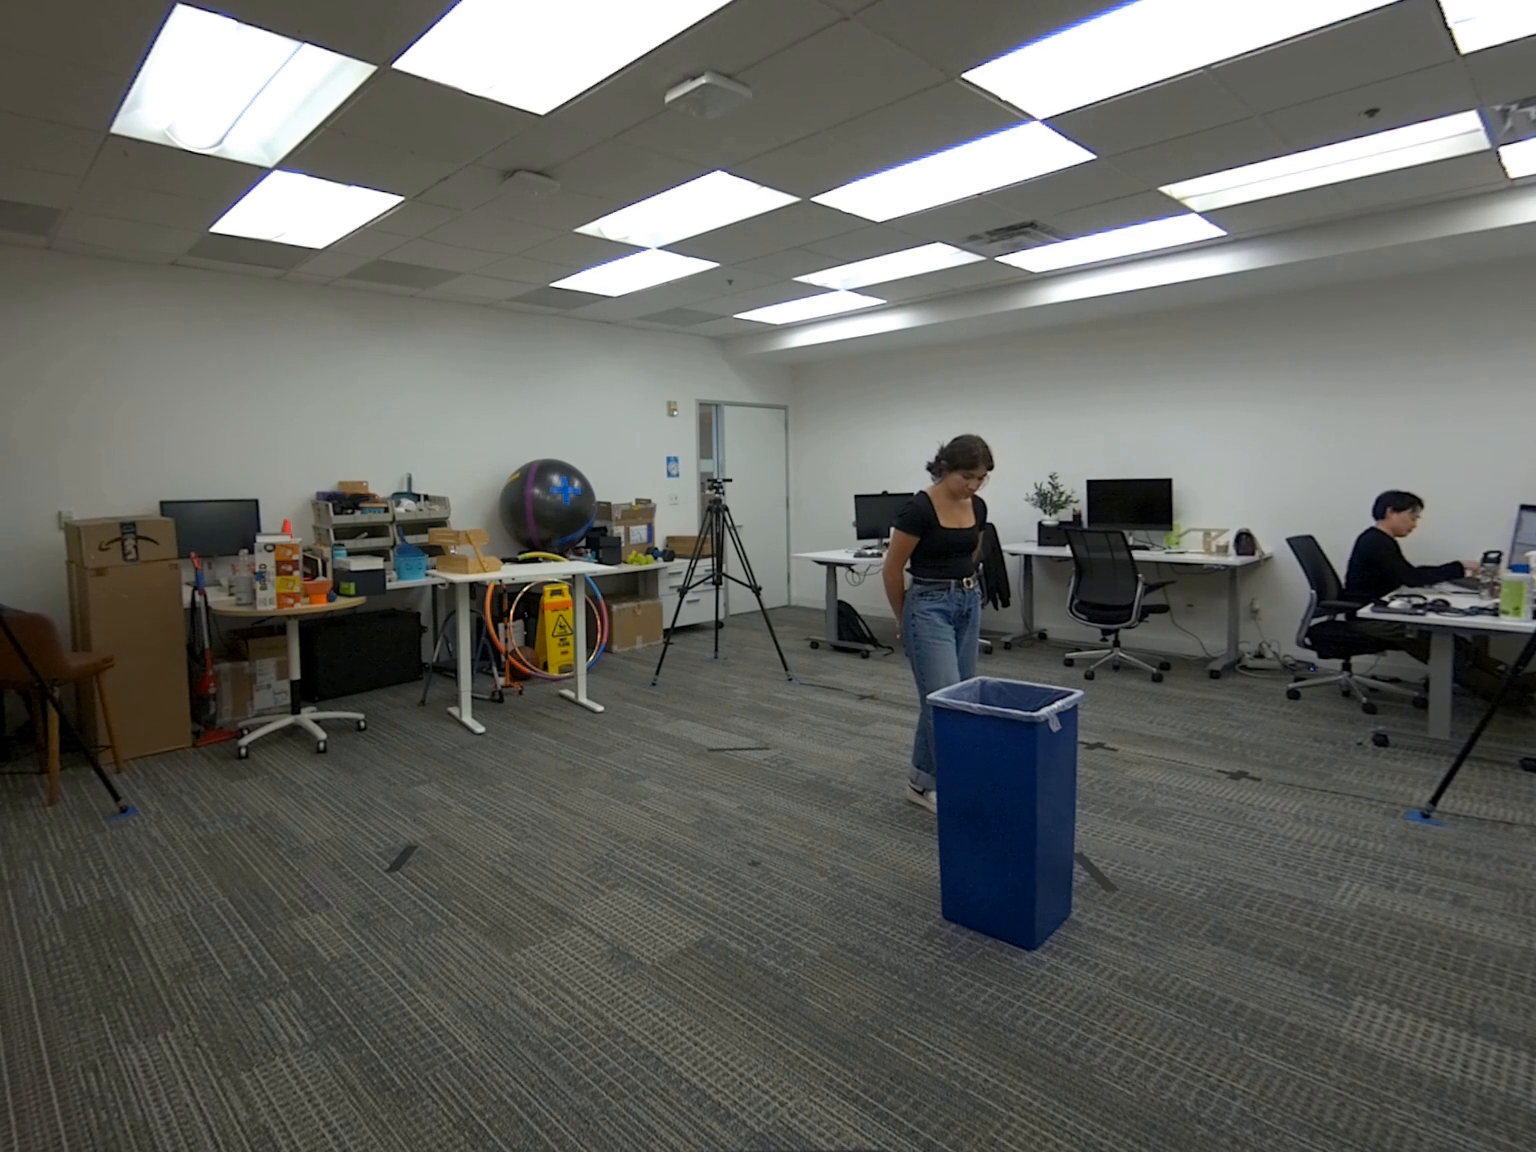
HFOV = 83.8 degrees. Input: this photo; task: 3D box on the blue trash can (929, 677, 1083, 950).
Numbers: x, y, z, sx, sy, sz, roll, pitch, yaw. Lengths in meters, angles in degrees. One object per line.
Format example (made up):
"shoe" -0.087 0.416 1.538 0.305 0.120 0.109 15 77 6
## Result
"blue trash can" 0.750 0.723 2.675 0.389 0.711 0.364 2 4 42
